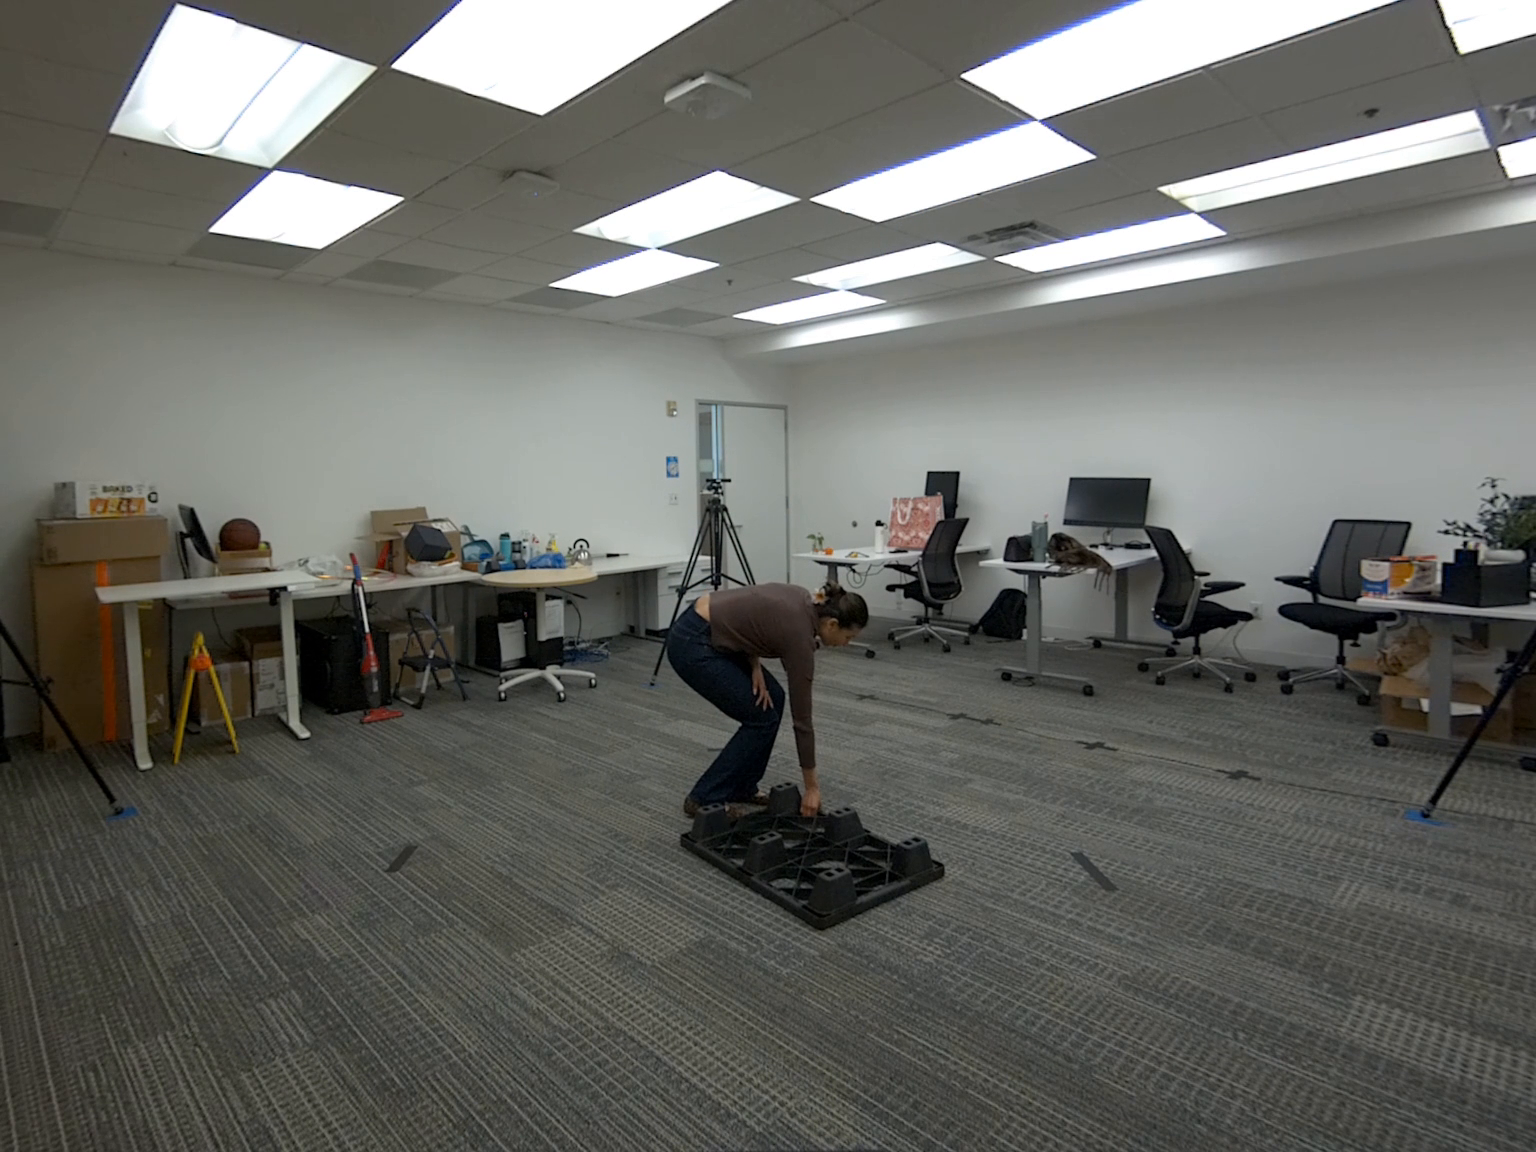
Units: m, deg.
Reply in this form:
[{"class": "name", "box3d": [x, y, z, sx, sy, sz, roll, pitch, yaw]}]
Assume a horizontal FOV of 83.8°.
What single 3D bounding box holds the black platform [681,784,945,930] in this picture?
[{"class": "black platform", "box3d": [0.136, 0.969, 3.119, 0.589, 0.143, 0.830, -5, 7, -38]}]
